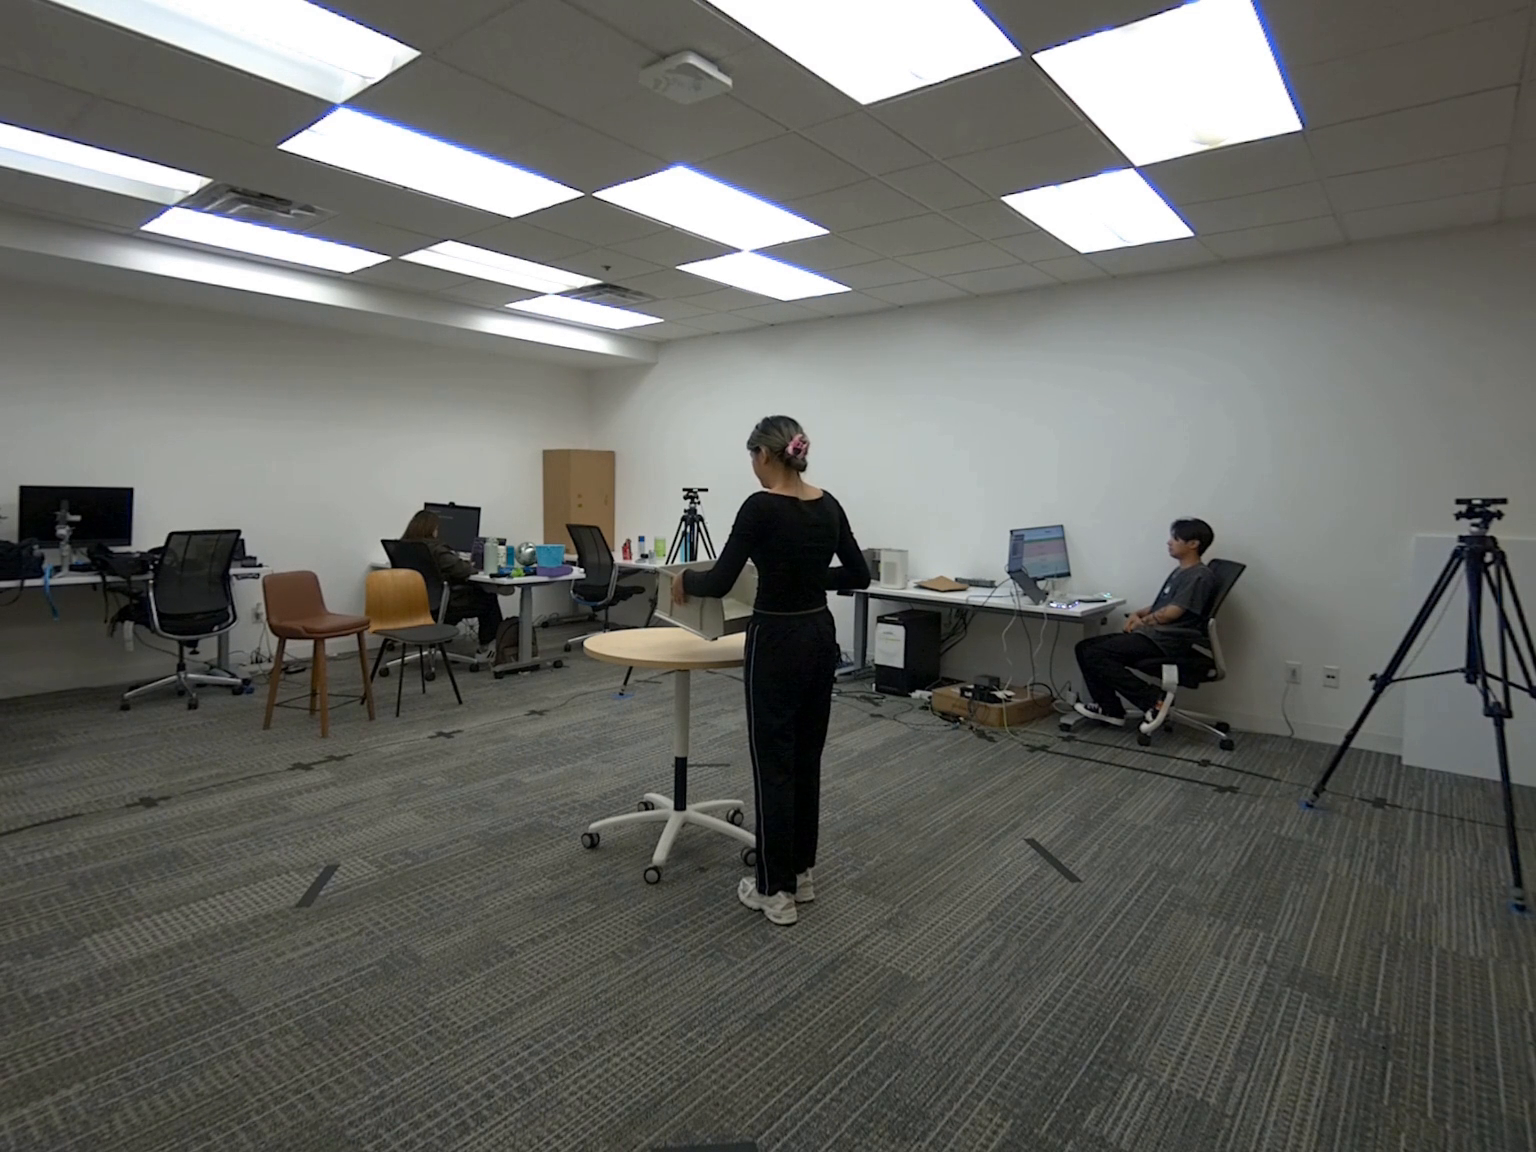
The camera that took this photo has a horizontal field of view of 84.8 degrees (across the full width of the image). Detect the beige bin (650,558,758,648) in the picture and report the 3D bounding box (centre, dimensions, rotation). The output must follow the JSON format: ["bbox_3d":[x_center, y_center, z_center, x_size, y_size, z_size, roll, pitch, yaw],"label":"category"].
[{"bbox_3d":[-0.146,0.078,3.076,0.411,0.187,0.392,-10,19,-42],"label":"beige bin"}]
